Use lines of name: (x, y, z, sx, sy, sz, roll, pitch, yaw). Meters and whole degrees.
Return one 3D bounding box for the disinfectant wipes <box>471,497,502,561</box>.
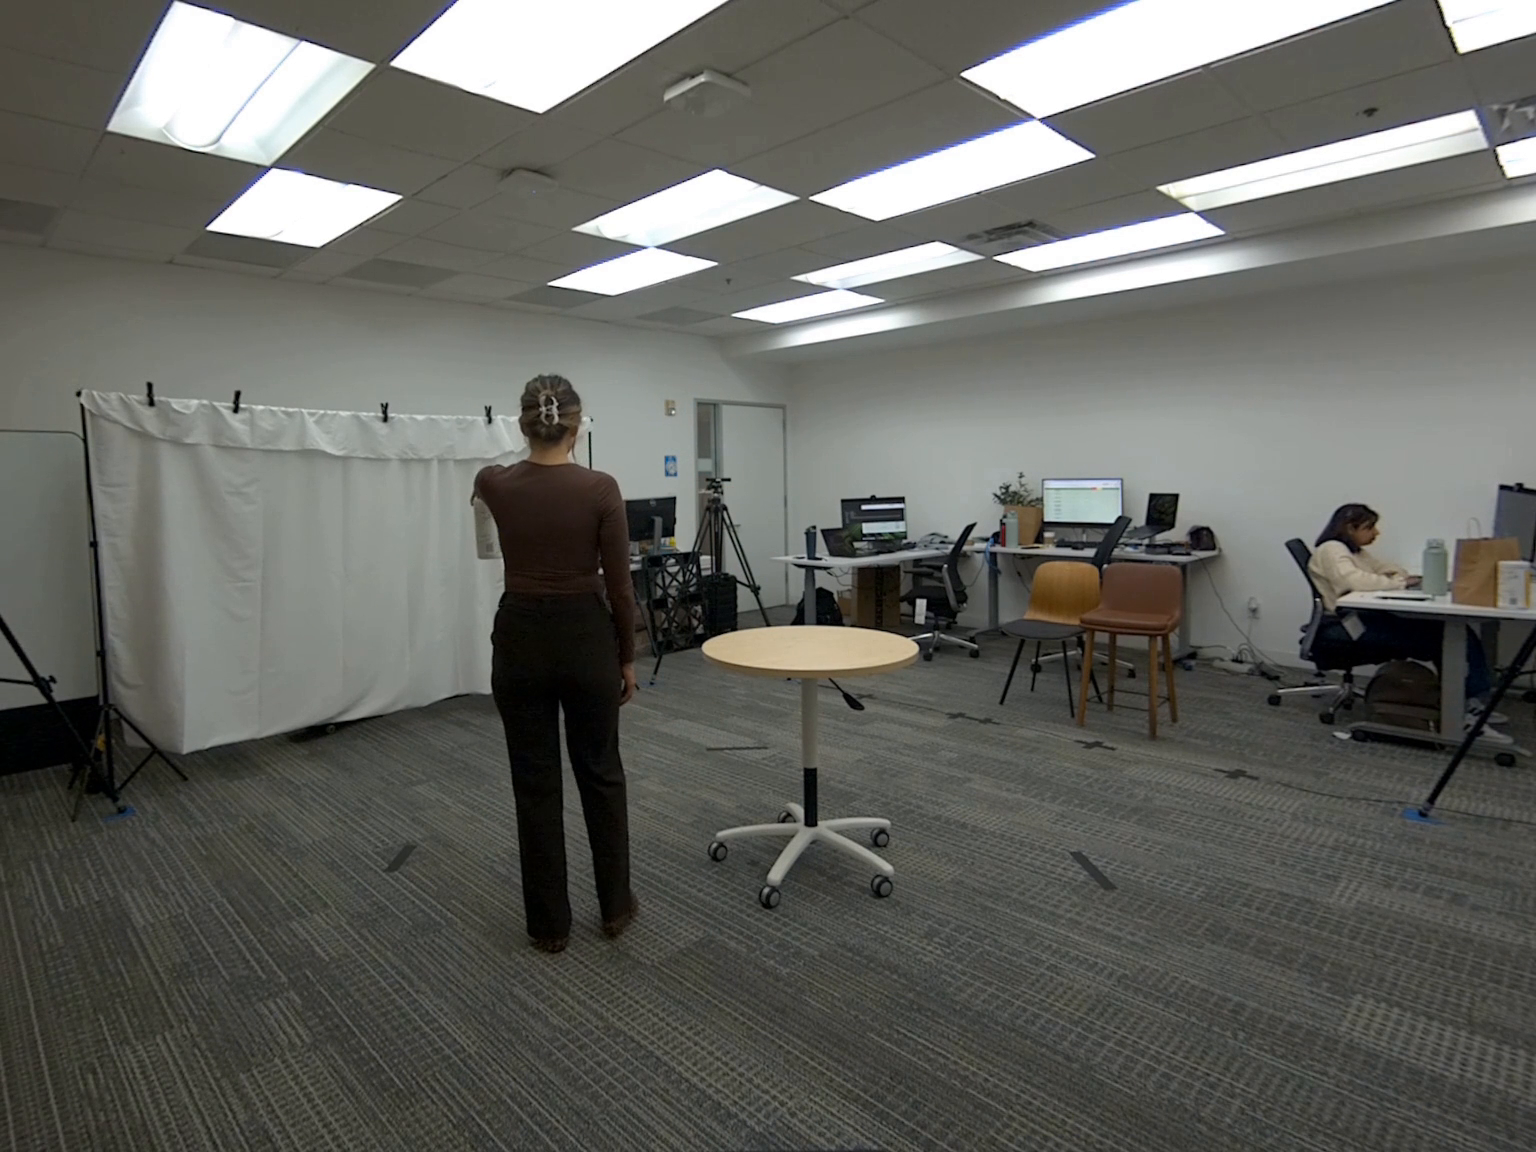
disinfectant wipes: (-0.994, -0.173, 3.085, 0.118, 0.216, 0.119, -2, 8, -1)
